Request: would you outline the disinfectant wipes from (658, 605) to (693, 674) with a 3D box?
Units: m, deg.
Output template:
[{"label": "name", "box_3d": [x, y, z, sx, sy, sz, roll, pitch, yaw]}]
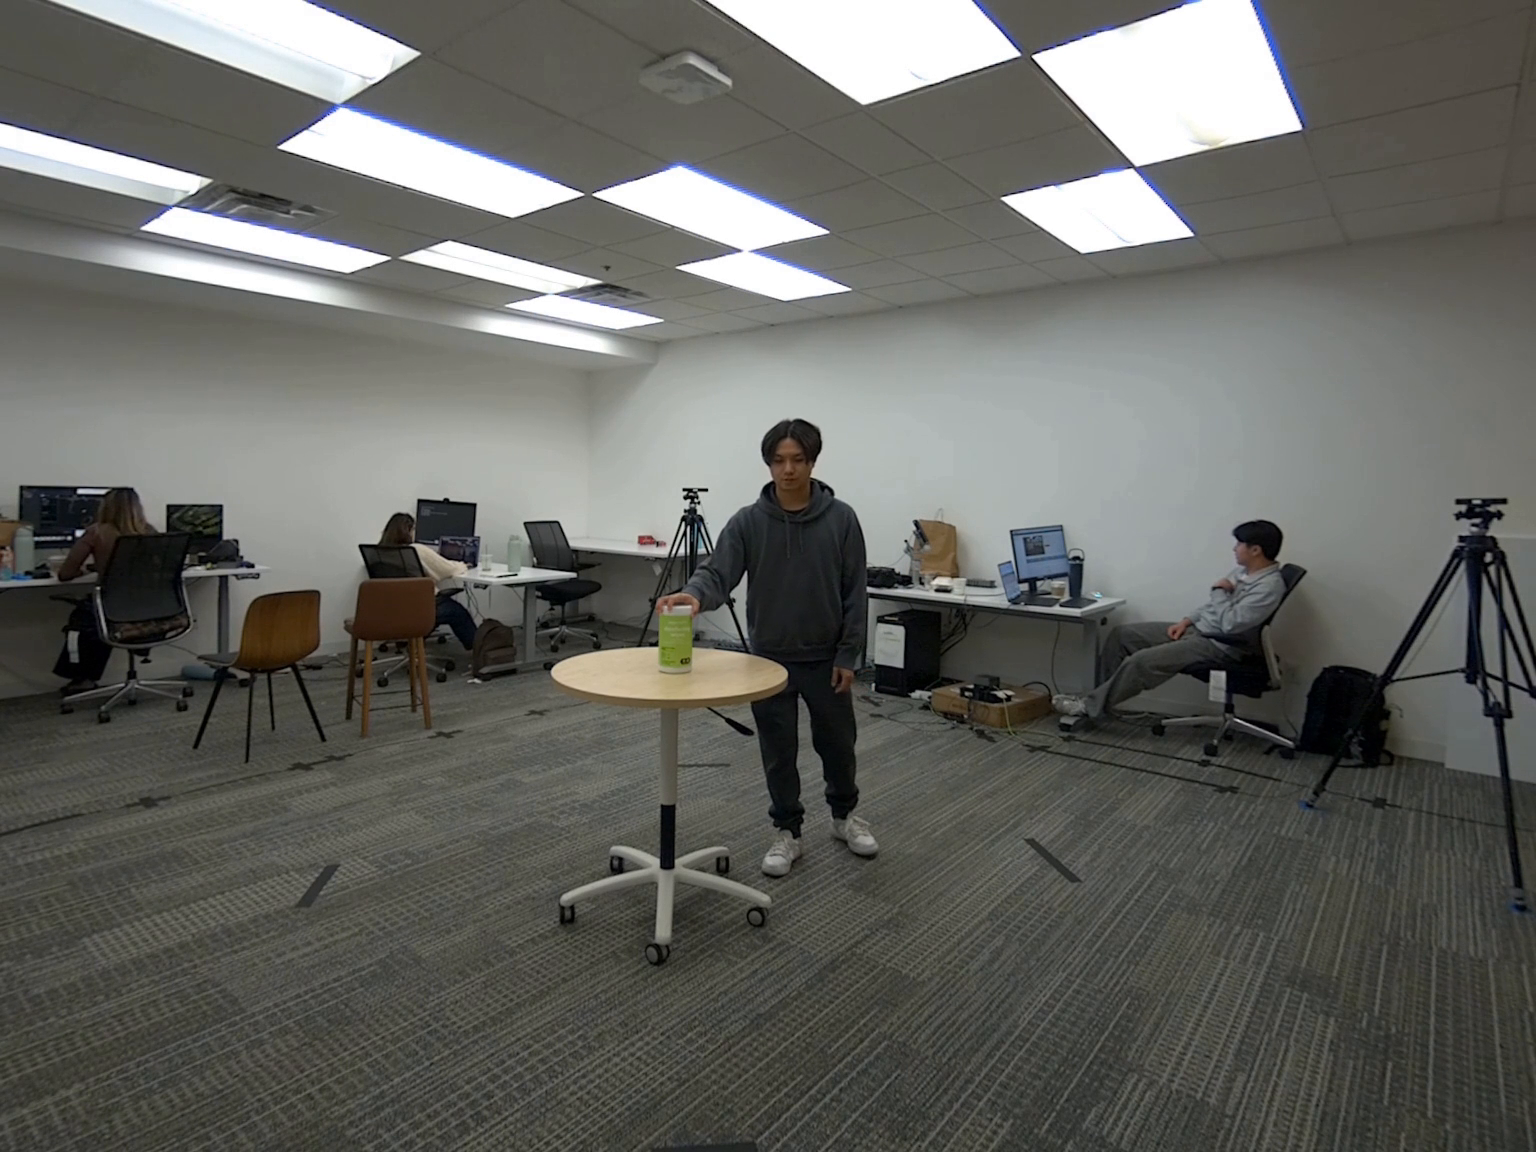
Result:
[{"label": "disinfectant wipes", "box_3d": [-0.313, 0.200, 2.756, 0.118, 0.217, 0.118, 0, 2, -2]}]
